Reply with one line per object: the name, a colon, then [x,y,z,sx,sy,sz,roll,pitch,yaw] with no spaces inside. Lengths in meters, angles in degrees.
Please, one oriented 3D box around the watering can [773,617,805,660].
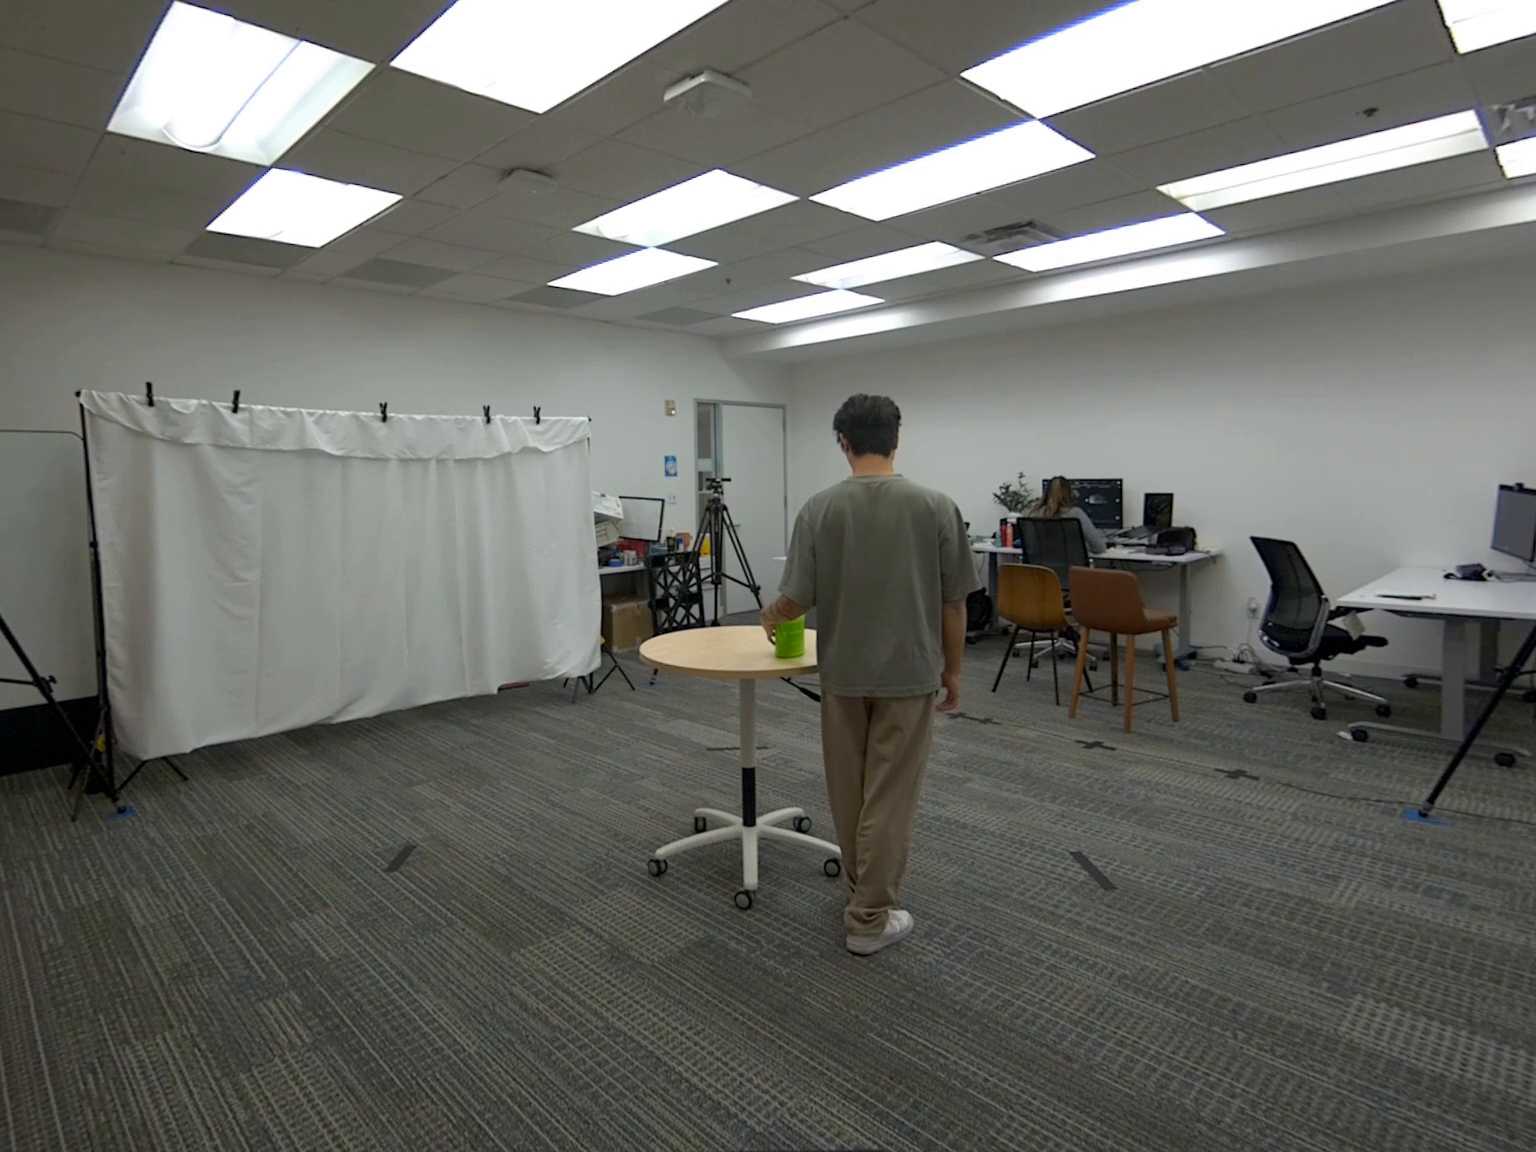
watering can: [0.106,0.180,2.930,0.101,0.176,0.271,2,6,37]
